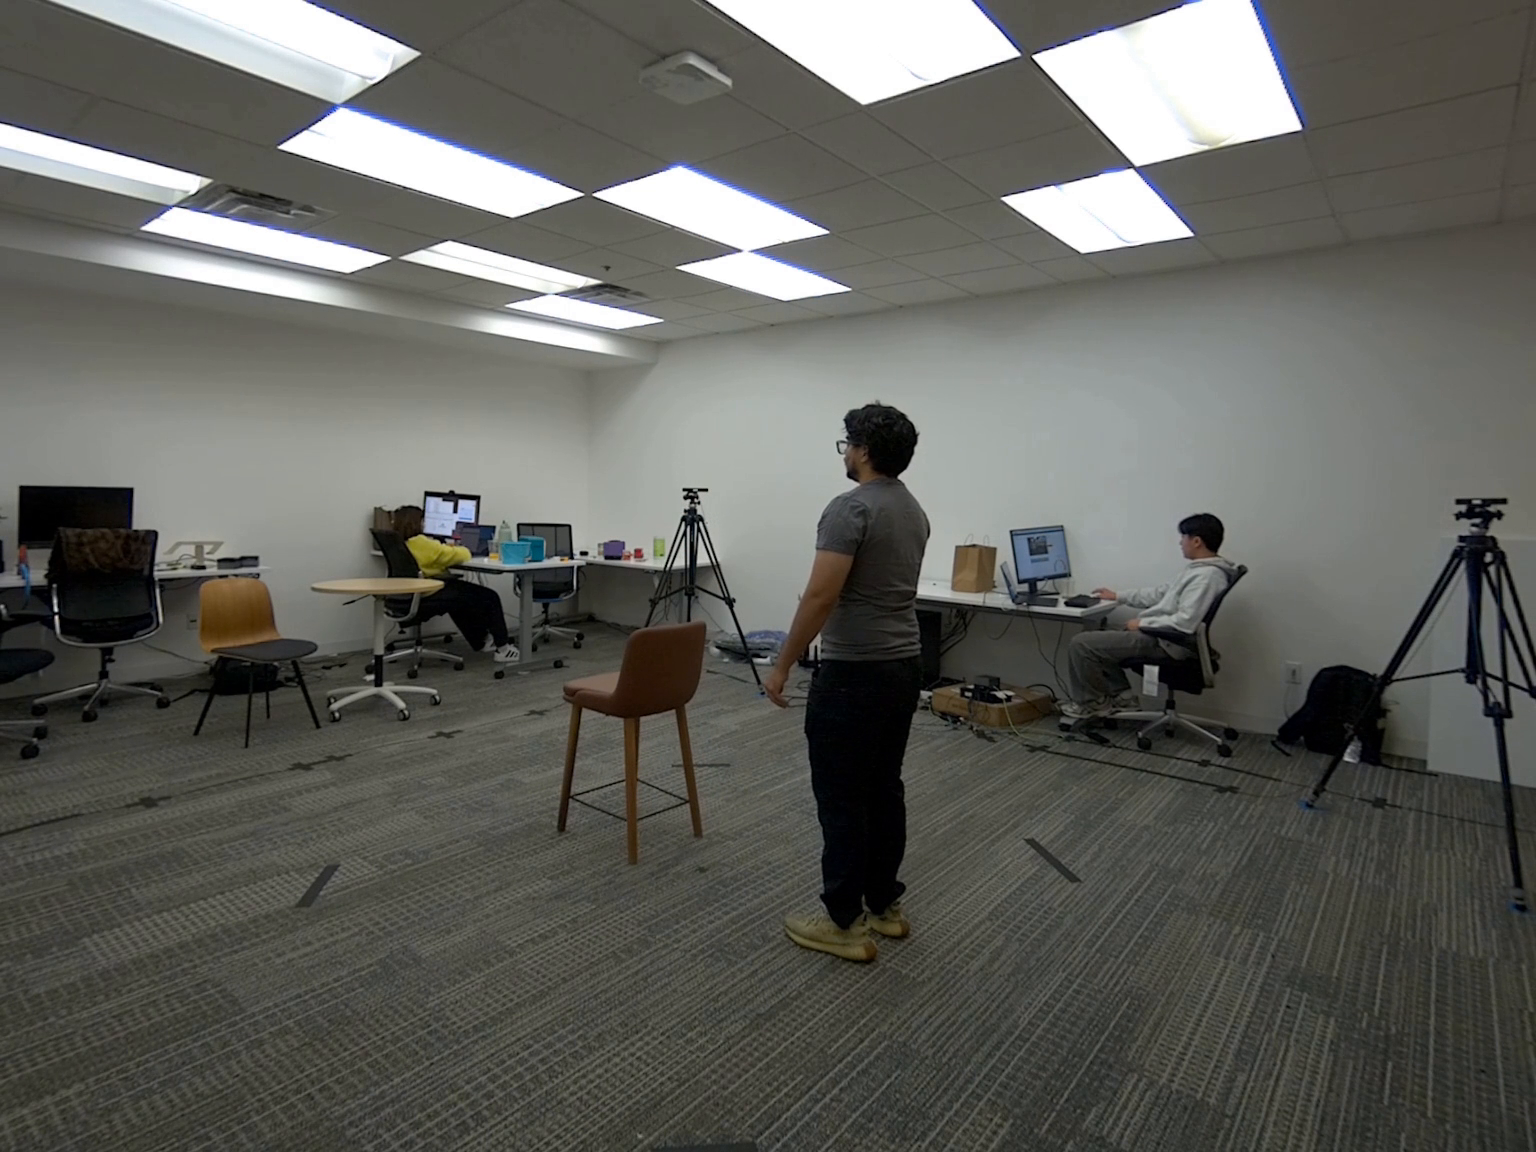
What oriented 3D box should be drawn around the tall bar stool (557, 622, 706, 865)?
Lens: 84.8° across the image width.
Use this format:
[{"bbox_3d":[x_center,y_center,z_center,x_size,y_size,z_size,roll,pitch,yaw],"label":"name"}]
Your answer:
[{"bbox_3d":[-0.550,0.601,3.403,0.484,0.887,0.442,6,5,41],"label":"tall bar stool"}]
